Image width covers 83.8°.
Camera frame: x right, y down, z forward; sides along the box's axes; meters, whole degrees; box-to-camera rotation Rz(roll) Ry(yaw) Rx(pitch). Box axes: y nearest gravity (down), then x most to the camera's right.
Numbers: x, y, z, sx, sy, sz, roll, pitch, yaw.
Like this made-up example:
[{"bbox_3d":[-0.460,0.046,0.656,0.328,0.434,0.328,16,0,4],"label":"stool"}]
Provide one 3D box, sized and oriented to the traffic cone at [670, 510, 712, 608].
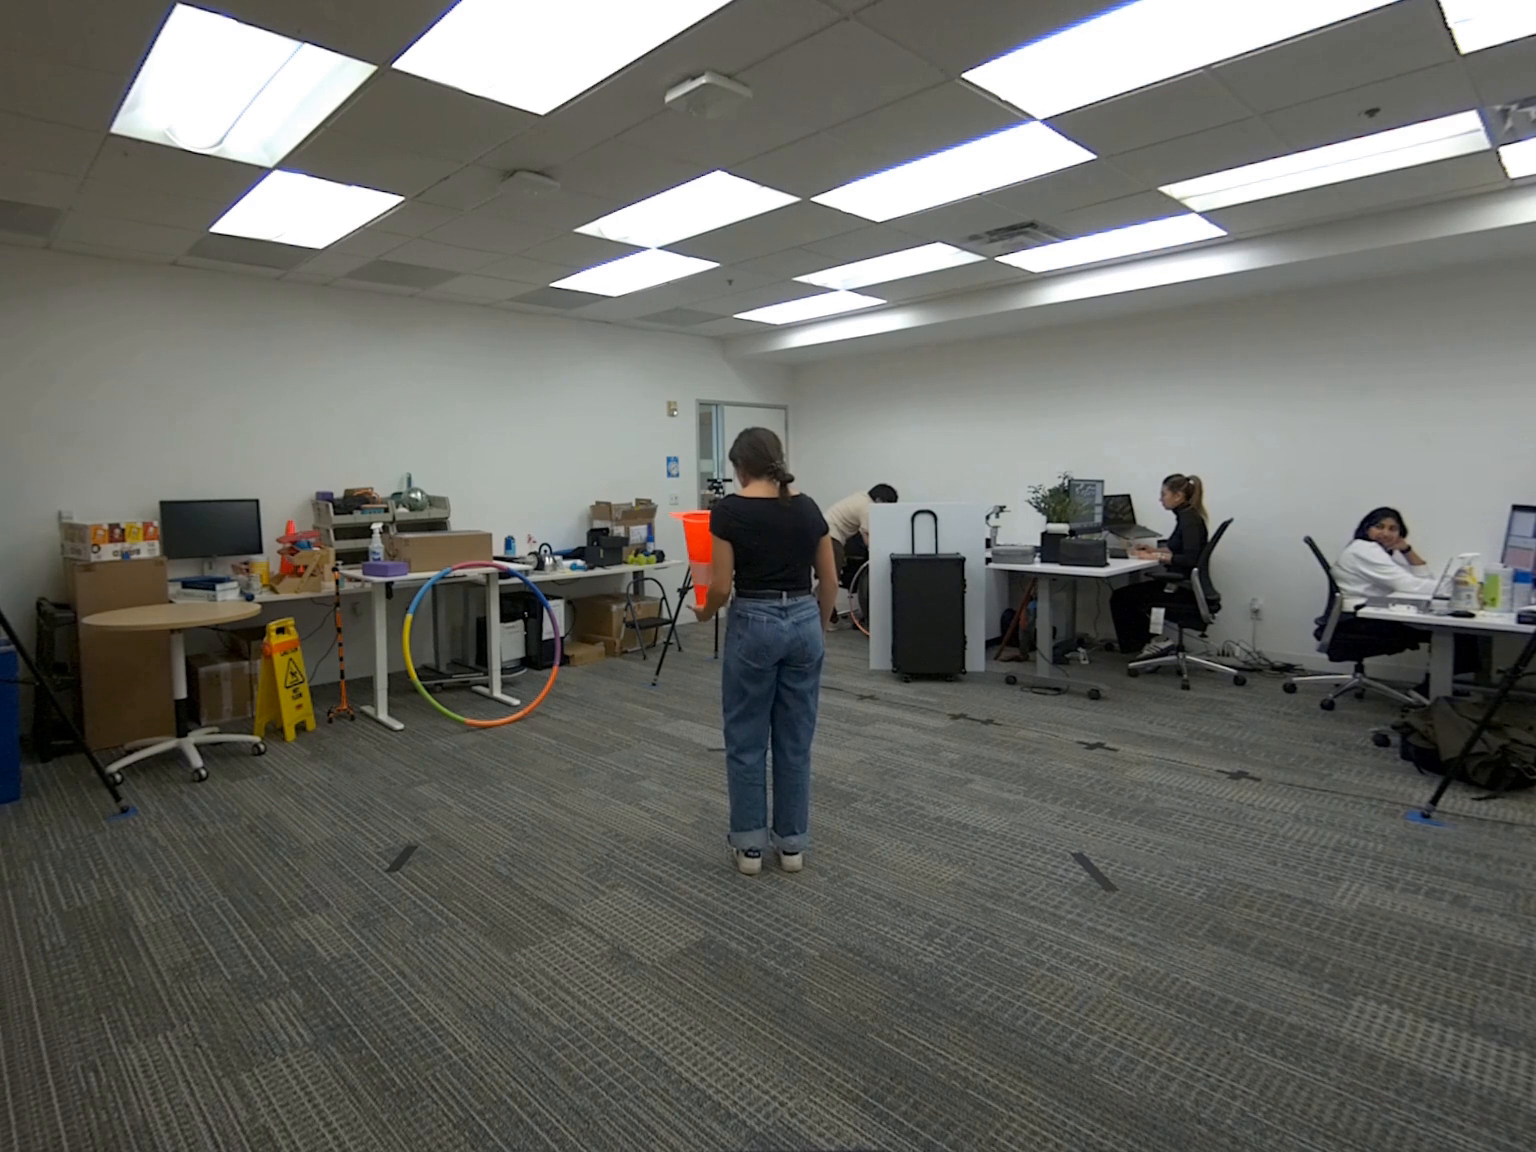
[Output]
[{"bbox_3d":[-0.235,-0.038,3.220,0.200,0.379,0.210,-7,14,-29],"label":"traffic cone"}]
